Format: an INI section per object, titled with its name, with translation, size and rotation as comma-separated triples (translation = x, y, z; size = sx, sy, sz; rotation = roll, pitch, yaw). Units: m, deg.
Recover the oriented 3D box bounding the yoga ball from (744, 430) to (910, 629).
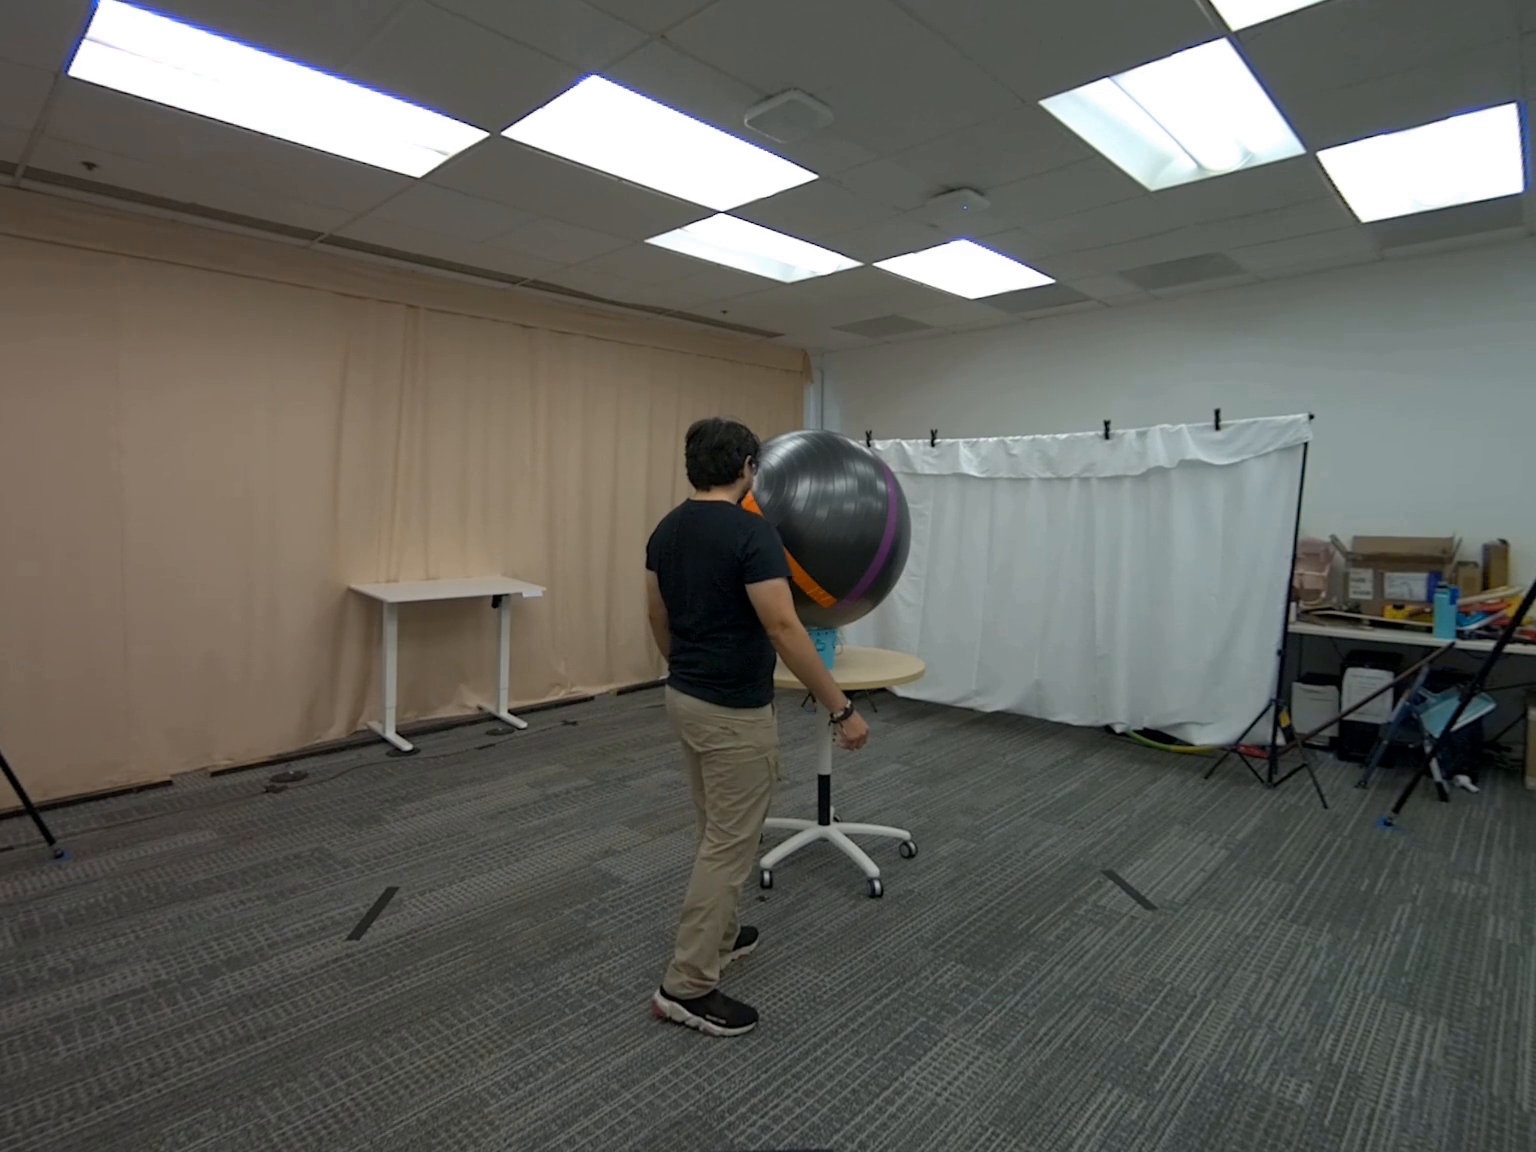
[yoga ball]
translation = 0.159, -0.166, 3.178
size = 0.757, 0.756, 0.760
rotation = 0, 4, -2
